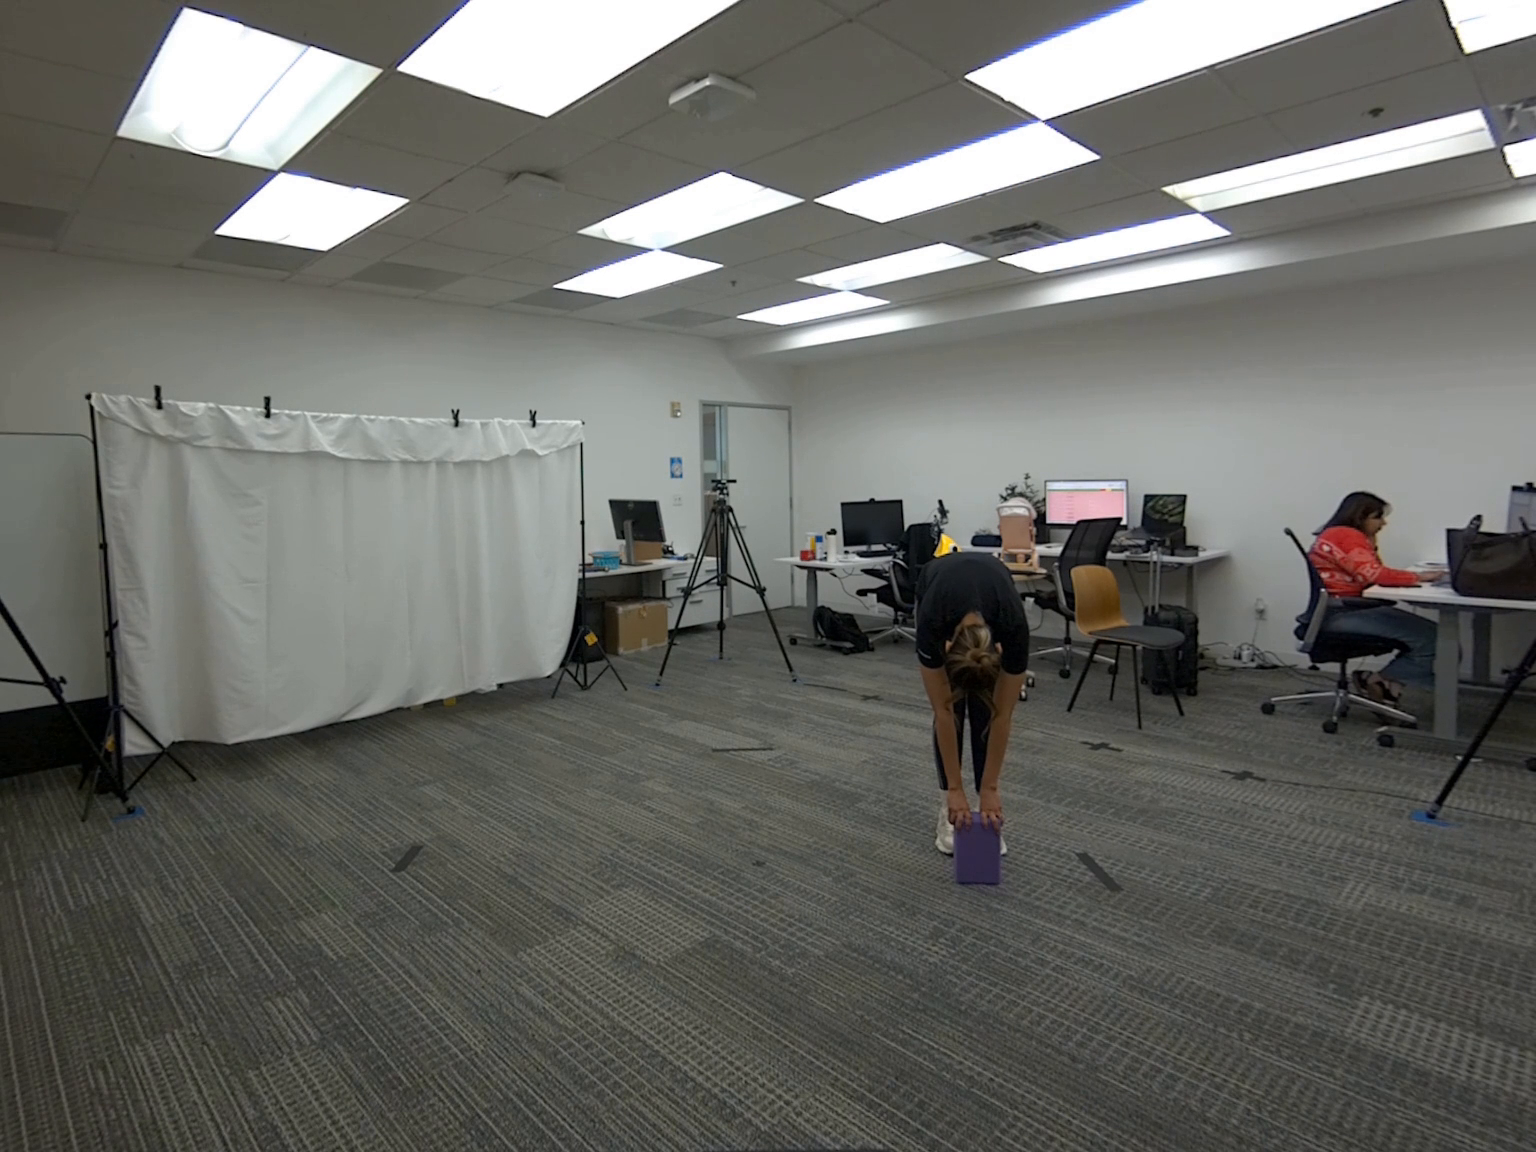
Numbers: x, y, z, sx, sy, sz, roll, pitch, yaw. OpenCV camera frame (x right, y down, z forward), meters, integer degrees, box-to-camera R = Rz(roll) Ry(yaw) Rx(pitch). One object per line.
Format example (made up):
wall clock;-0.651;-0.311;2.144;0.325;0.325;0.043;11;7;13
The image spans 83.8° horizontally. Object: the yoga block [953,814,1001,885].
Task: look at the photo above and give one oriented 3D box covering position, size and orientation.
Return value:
yoga block;0.724;0.943;2.943;0.150;0.229;0.076;-2;3;6
